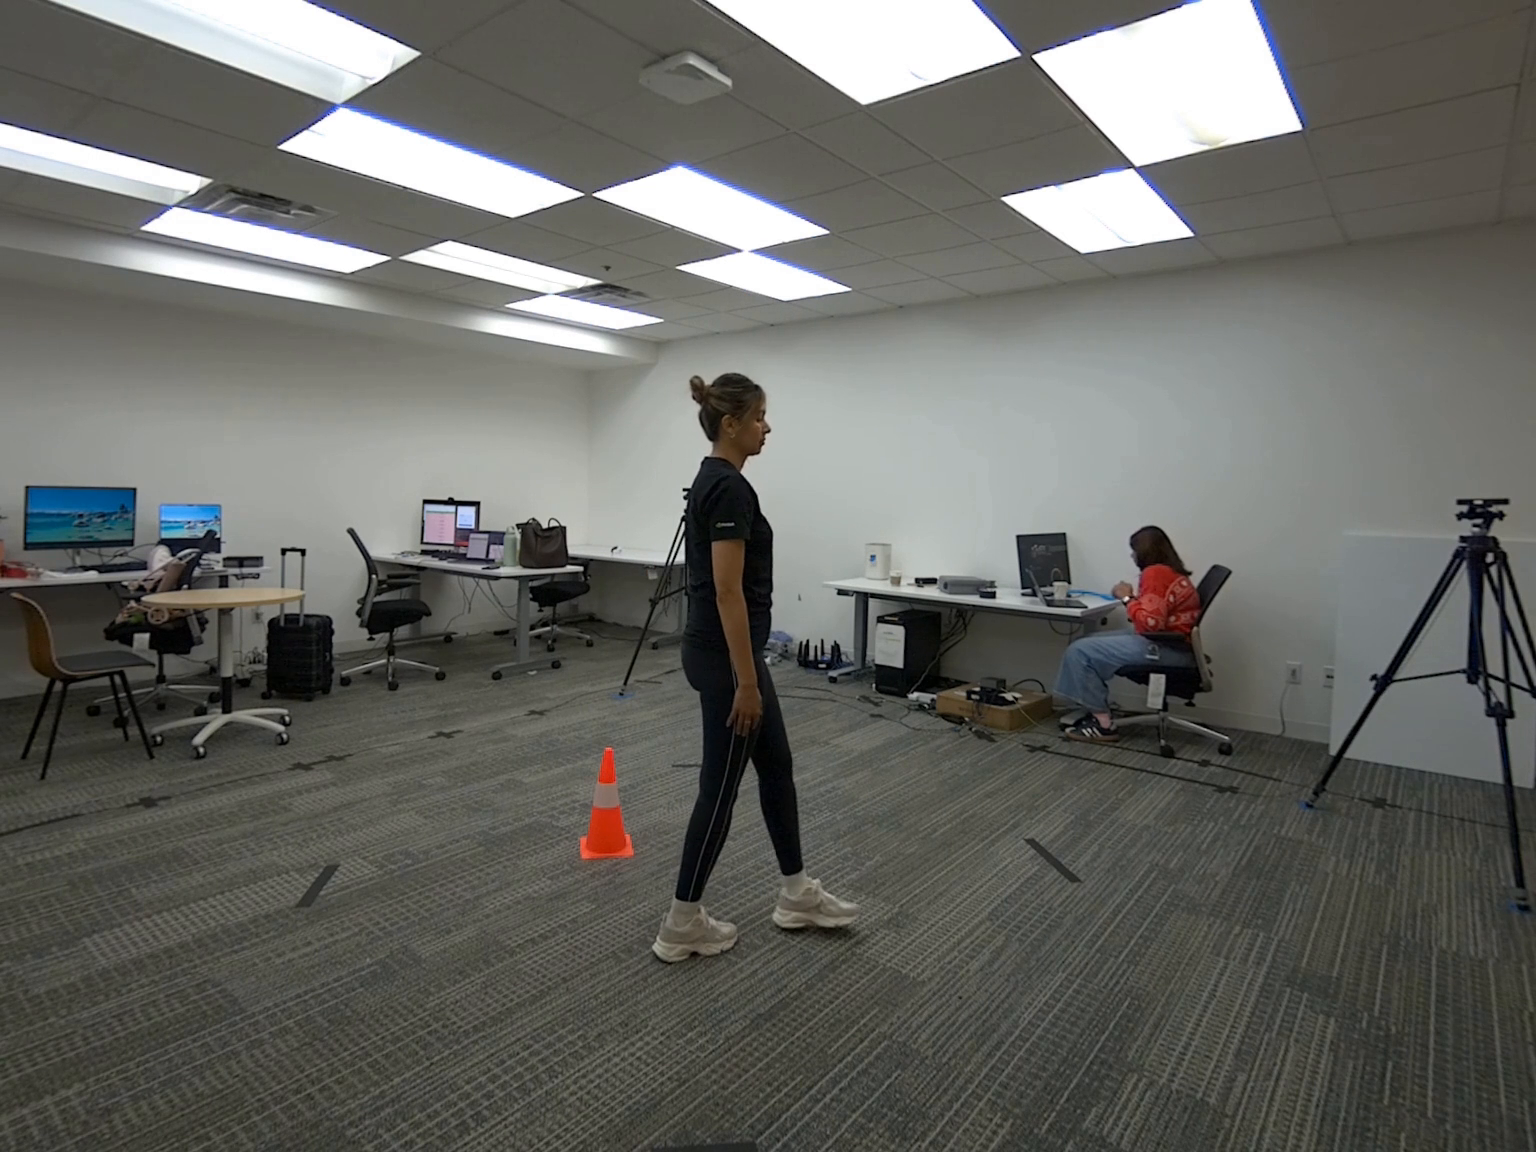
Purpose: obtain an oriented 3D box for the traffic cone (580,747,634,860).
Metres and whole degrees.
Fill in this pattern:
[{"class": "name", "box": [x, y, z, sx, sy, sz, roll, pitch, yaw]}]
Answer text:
[{"class": "traffic cone", "box": [-0.631, 0.859, 3.285, 0.203, 0.382, 0.206, 1, 3, -11]}]
